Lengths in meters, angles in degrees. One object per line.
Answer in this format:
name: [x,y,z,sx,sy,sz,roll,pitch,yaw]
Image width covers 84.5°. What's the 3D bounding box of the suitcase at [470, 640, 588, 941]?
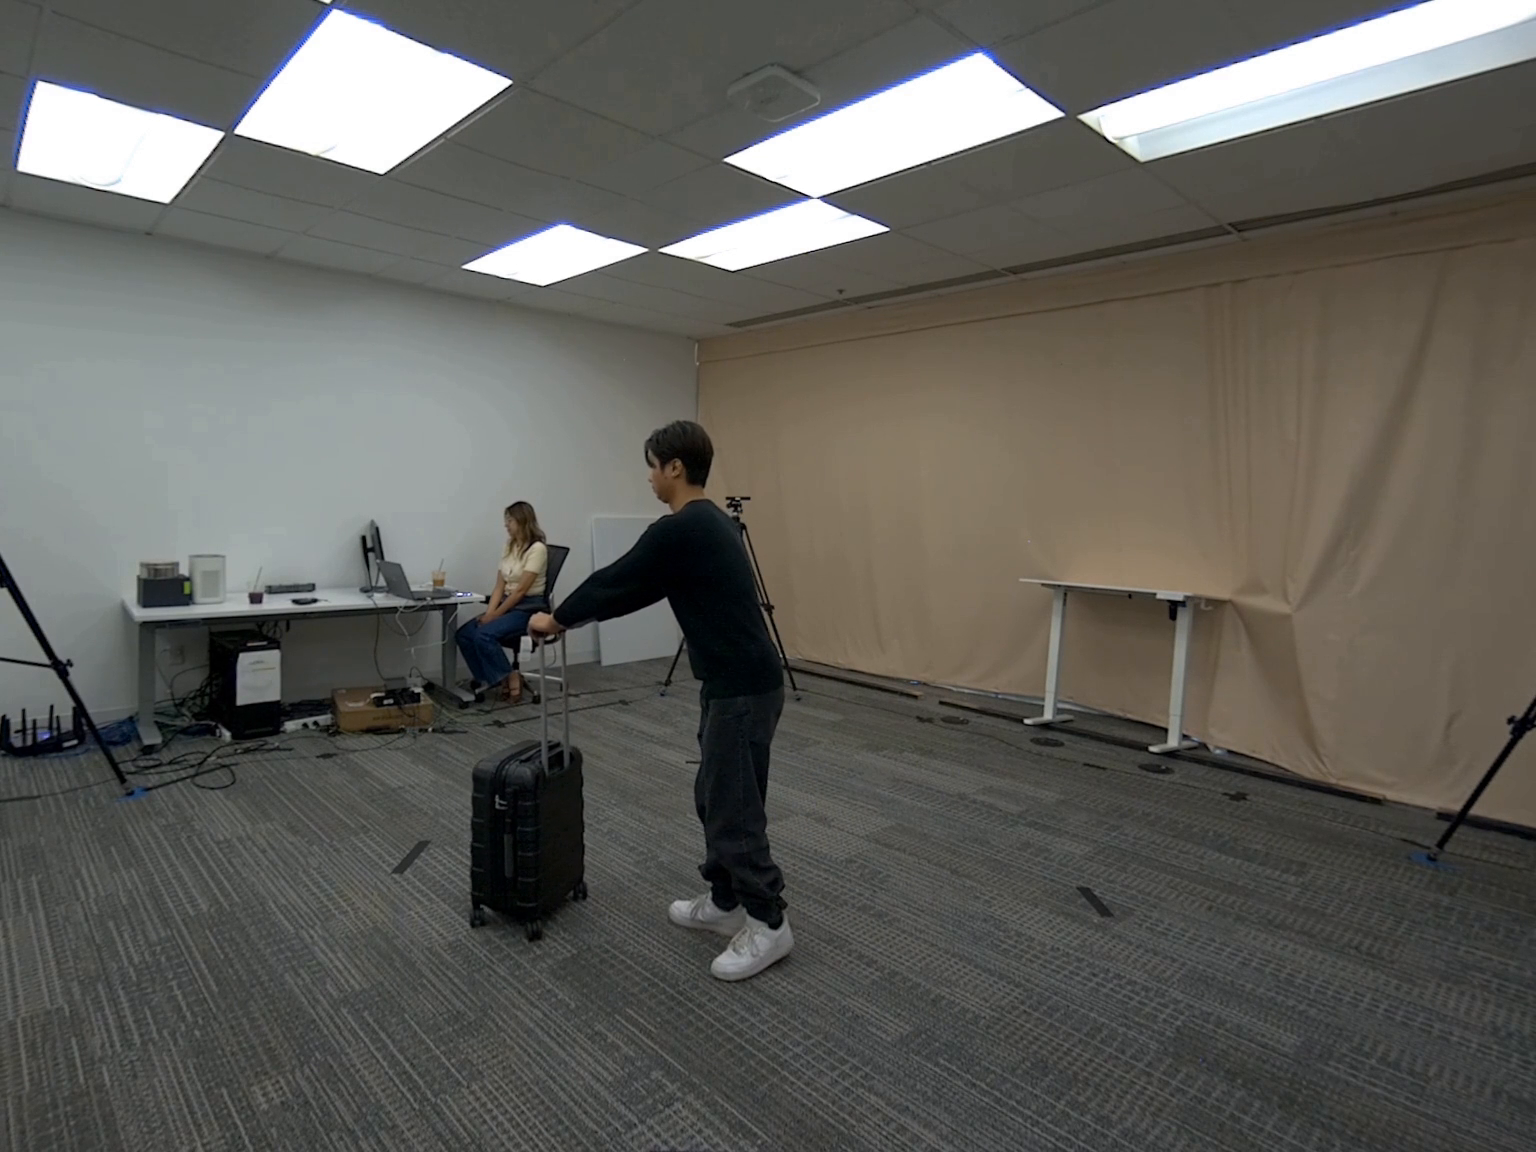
suitcase: [-0.804,0.645,2.807,0.261,0.978,0.378,0,1,19]
